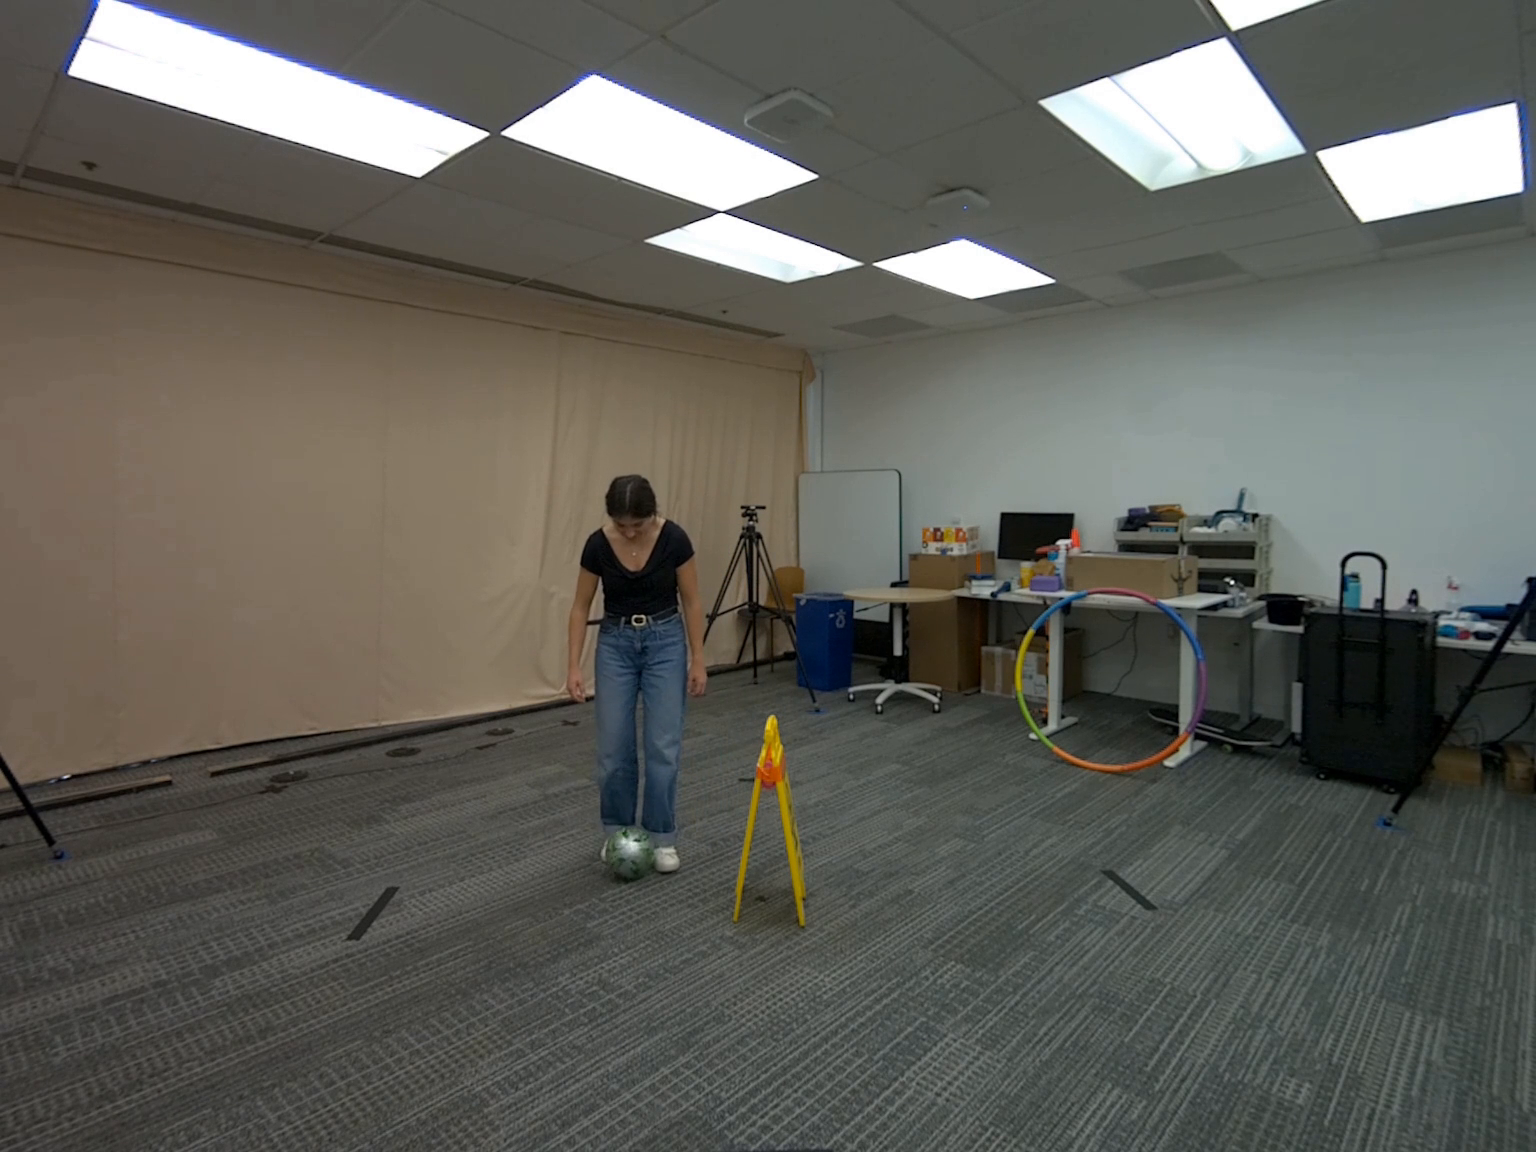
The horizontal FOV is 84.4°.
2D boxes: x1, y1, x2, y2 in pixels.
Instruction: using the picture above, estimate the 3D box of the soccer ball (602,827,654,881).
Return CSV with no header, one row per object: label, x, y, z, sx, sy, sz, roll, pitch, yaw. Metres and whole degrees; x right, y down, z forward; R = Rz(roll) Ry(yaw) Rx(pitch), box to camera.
soccer ball,-0.514,1.037,3.163,0.187,0.187,0.188,0,4,-2
